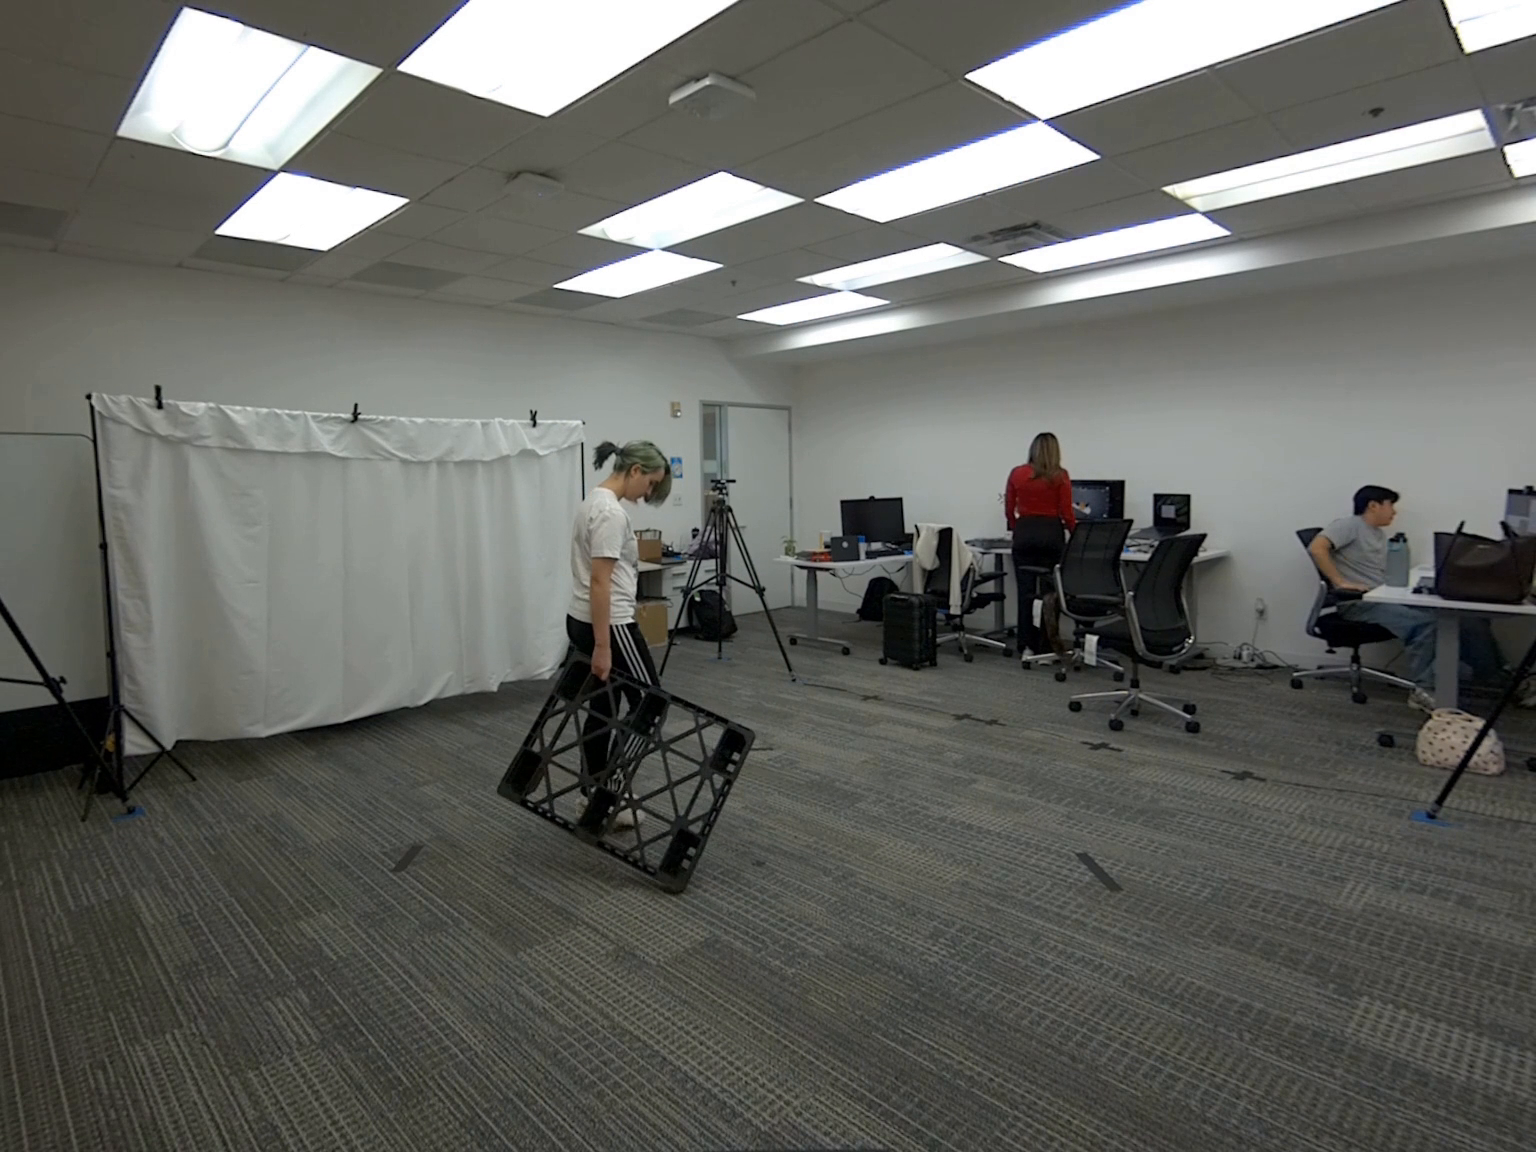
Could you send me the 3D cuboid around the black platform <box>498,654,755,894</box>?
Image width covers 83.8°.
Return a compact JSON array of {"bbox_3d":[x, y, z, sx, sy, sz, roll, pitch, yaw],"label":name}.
[{"bbox_3d":[-0.513,0.711,3.166,0.825,0.609,0.139,20,-20,20],"label":"black platform"}]
